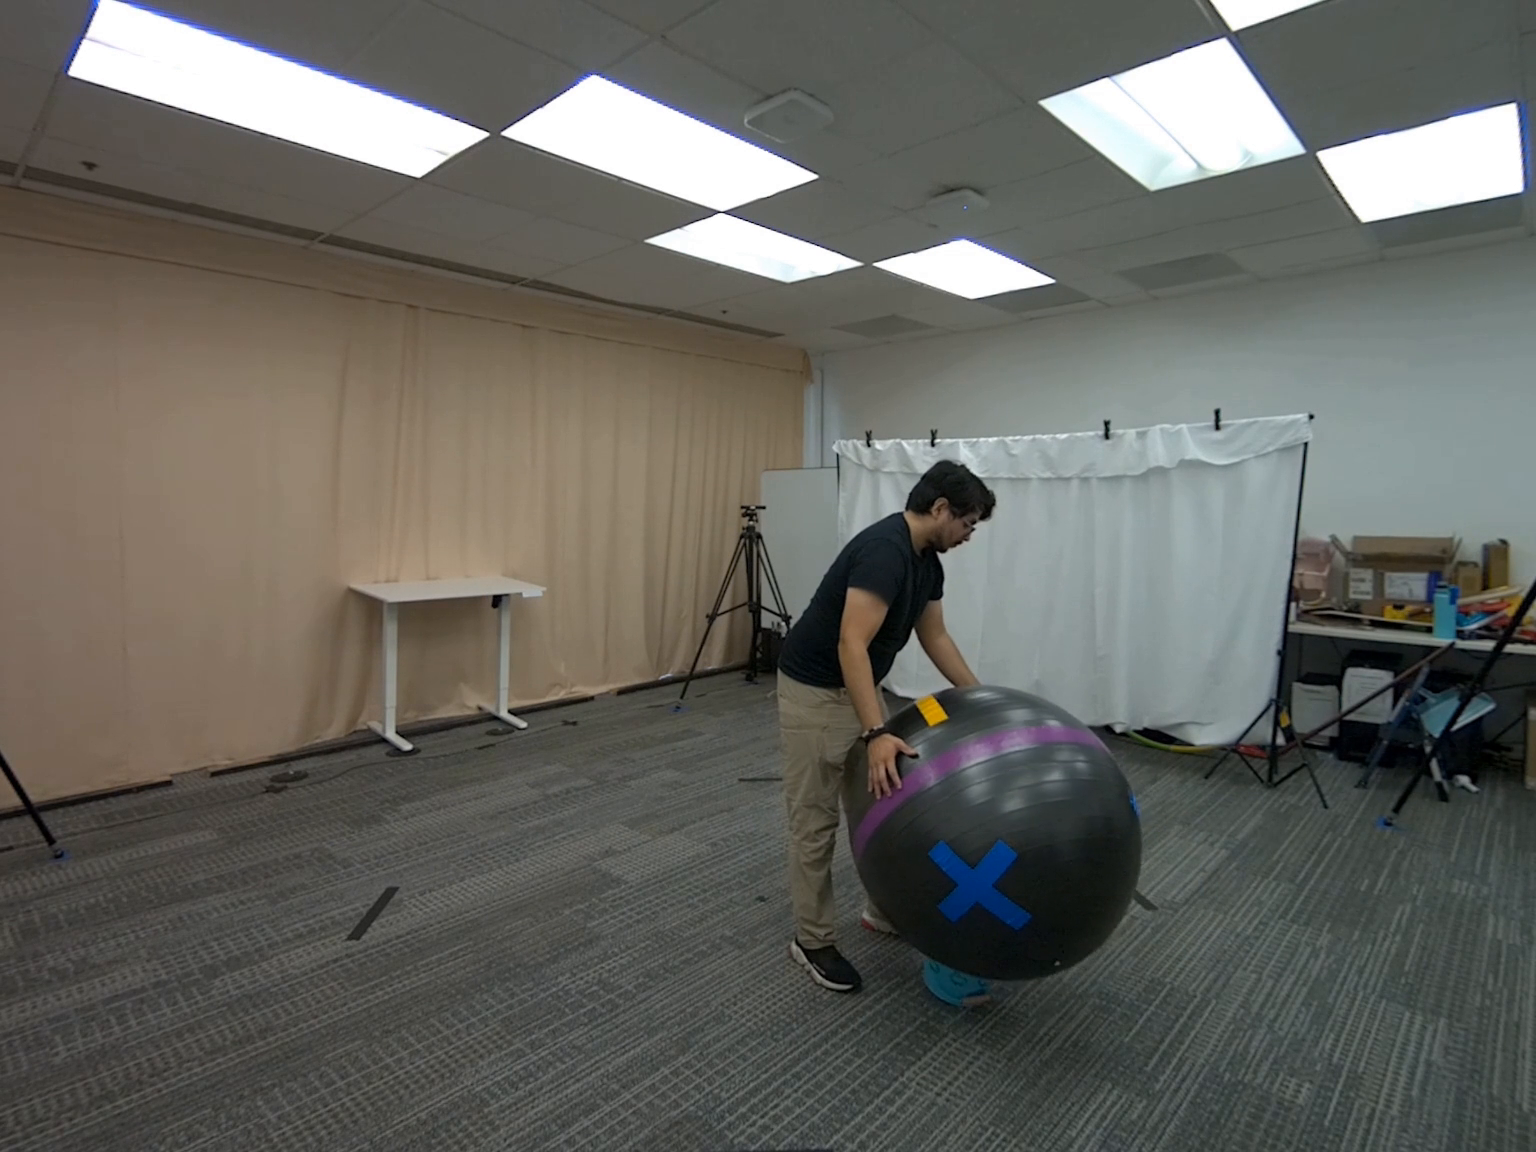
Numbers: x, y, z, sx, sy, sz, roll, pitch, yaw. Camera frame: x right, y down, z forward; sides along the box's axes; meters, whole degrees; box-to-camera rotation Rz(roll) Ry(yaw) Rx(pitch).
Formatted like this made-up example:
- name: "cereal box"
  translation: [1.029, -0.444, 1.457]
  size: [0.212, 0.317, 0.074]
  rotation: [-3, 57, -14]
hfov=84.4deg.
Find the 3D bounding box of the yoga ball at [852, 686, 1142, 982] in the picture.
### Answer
- name: "yoga ball"
  translation: [0.605, 0.690, 2.297]
  size: [0.757, 0.756, 0.760]
  rotation: [0, 4, -2]
